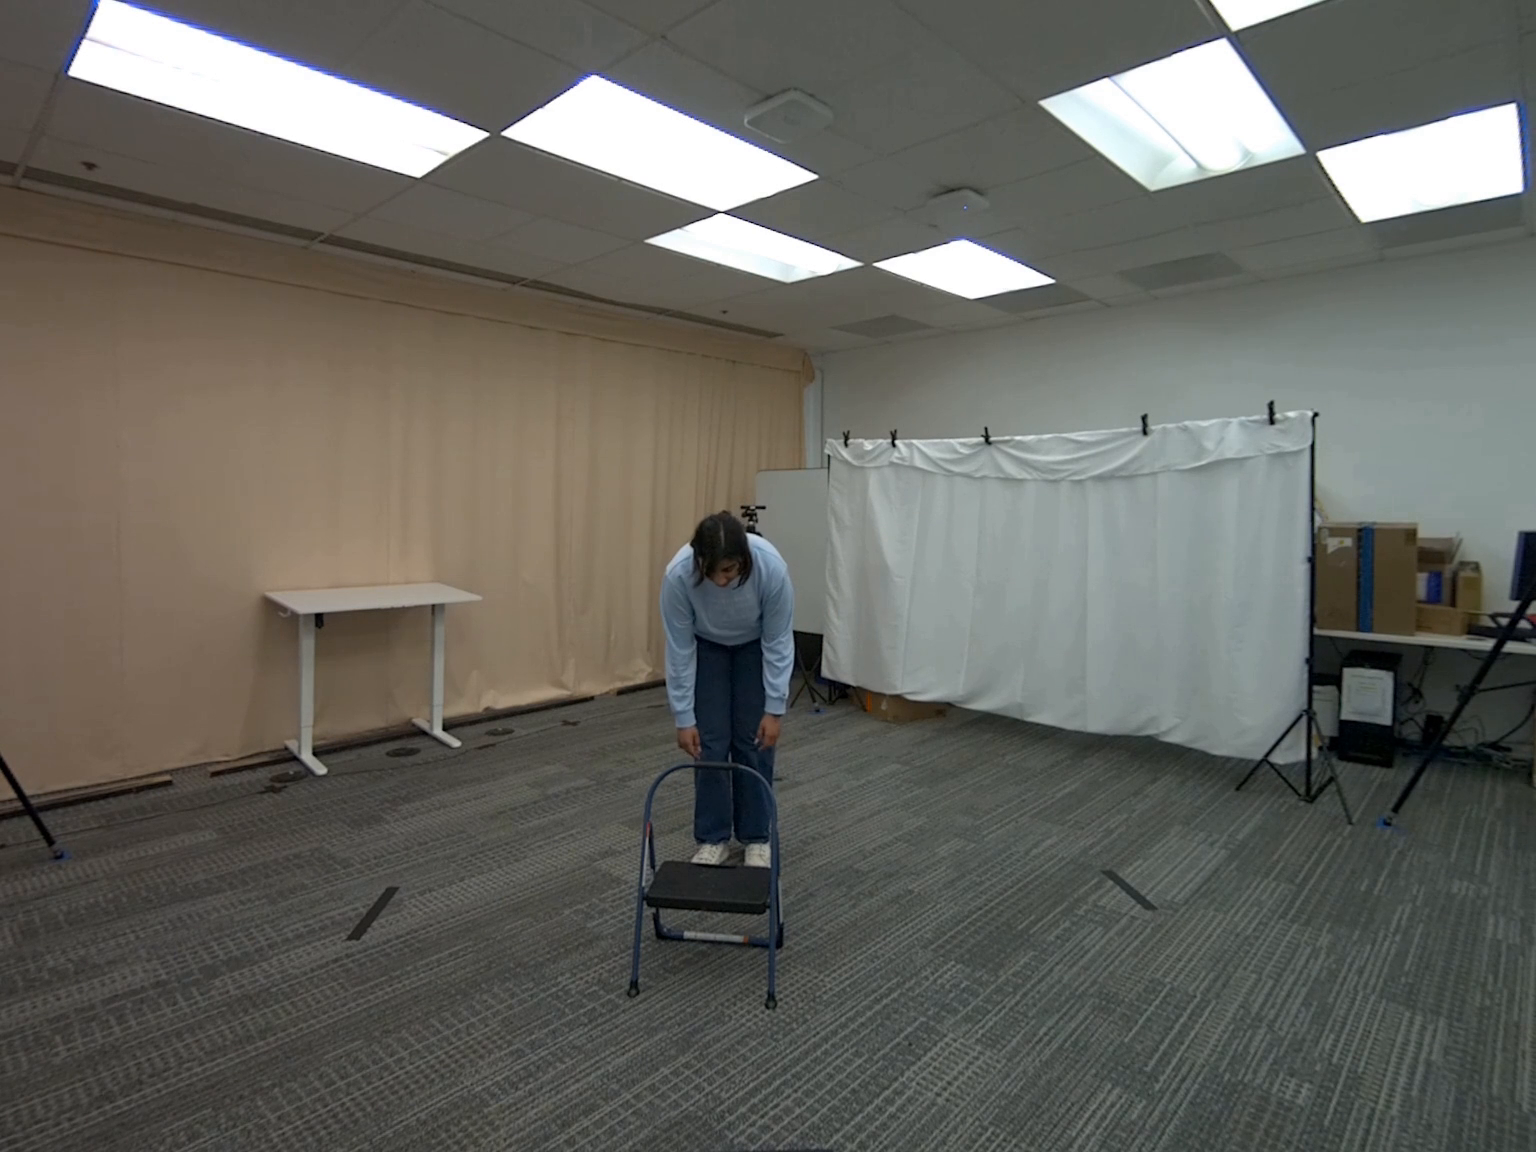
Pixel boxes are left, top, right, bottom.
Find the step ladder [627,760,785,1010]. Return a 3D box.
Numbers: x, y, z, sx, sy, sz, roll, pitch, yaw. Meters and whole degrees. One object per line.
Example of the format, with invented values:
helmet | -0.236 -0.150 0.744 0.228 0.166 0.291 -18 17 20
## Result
step ladder | -0.173 0.876 2.520 0.435 0.605 0.347 0 3 8
